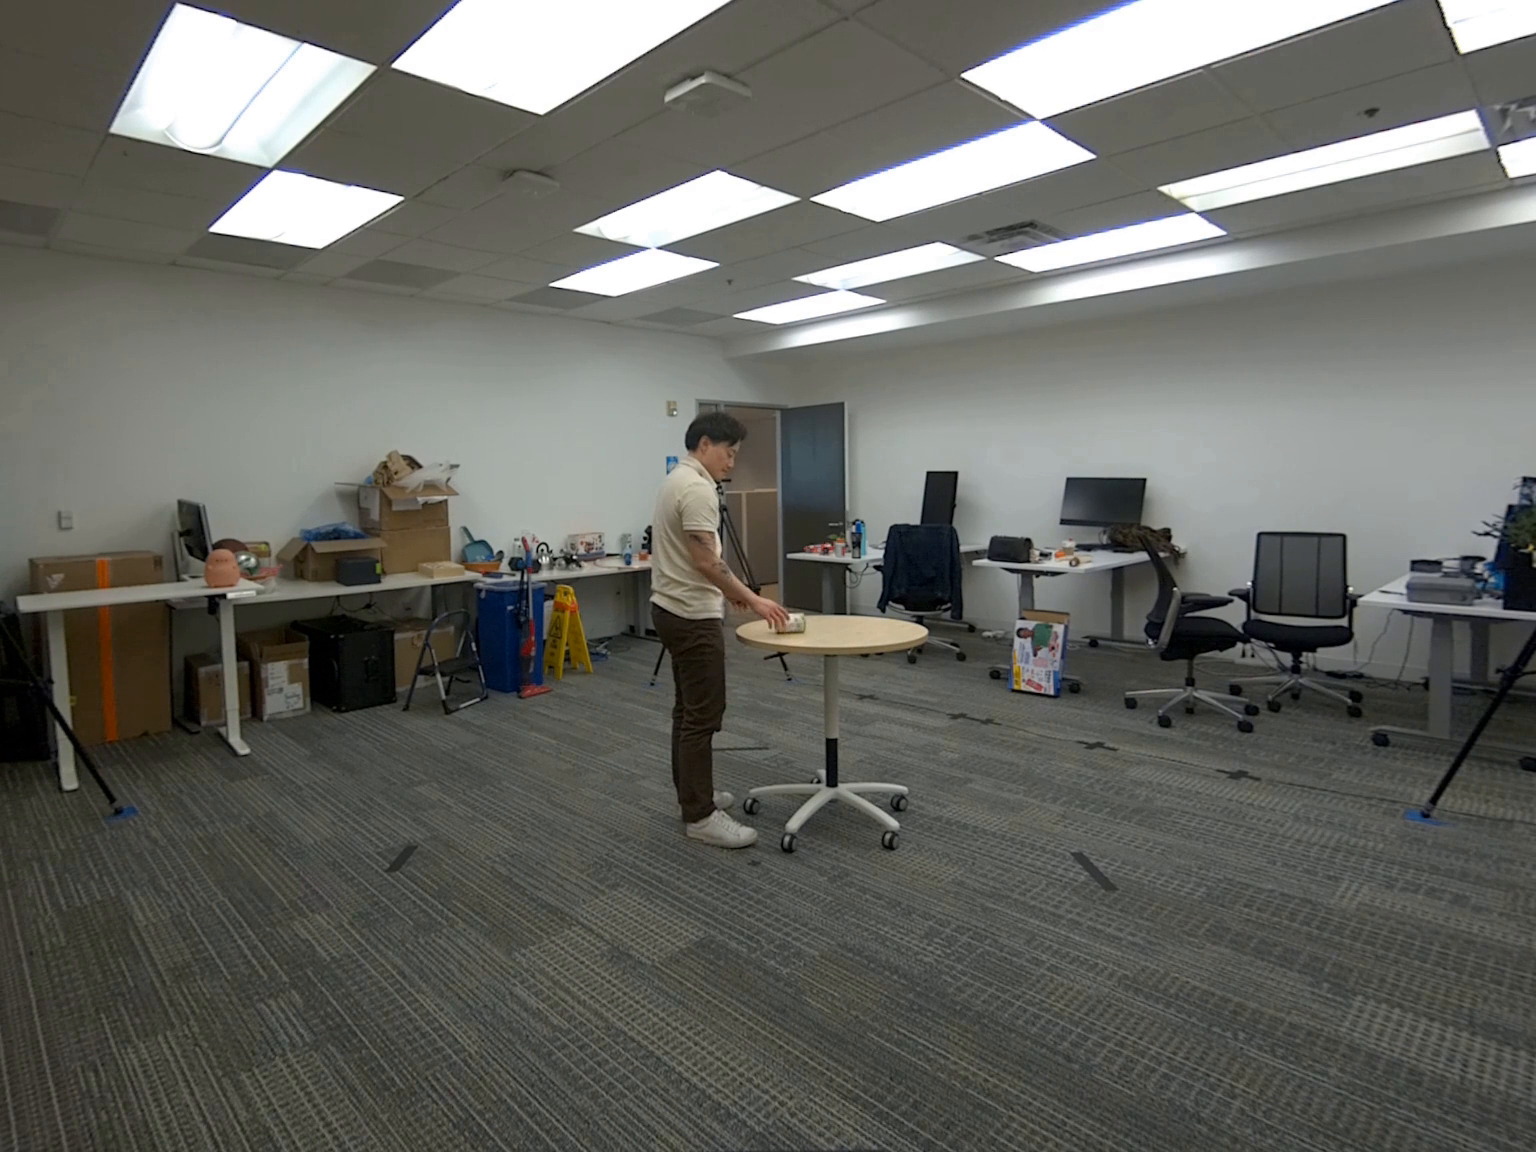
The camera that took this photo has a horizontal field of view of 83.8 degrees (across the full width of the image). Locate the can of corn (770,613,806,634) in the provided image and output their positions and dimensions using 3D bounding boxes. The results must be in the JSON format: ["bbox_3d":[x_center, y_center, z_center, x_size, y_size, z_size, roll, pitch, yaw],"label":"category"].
[{"bbox_3d":[0.085,0.185,3.381,0.110,0.074,0.075,-1,5,-8],"label":"can of corn"}]
